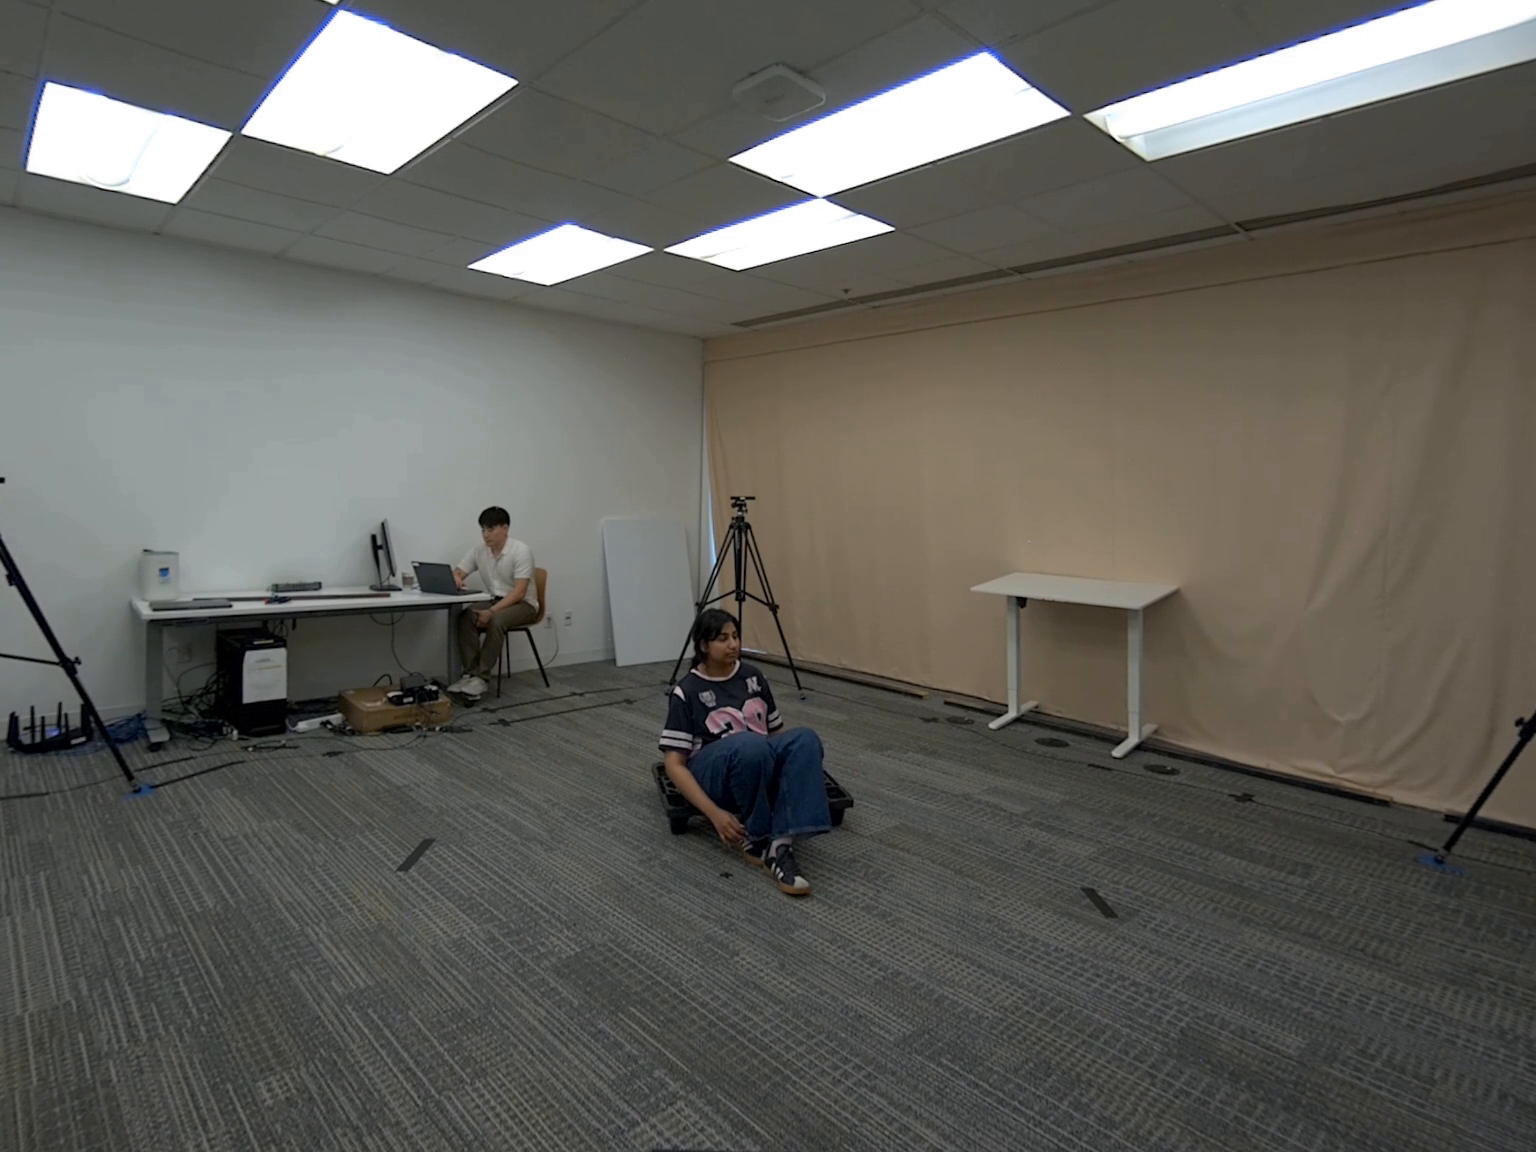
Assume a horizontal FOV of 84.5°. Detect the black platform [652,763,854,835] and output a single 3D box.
[{"bbox_3d":[-0.096,0.982,3.769,0.798,0.143,0.612,0,5,-12],"label":"black platform"}]
